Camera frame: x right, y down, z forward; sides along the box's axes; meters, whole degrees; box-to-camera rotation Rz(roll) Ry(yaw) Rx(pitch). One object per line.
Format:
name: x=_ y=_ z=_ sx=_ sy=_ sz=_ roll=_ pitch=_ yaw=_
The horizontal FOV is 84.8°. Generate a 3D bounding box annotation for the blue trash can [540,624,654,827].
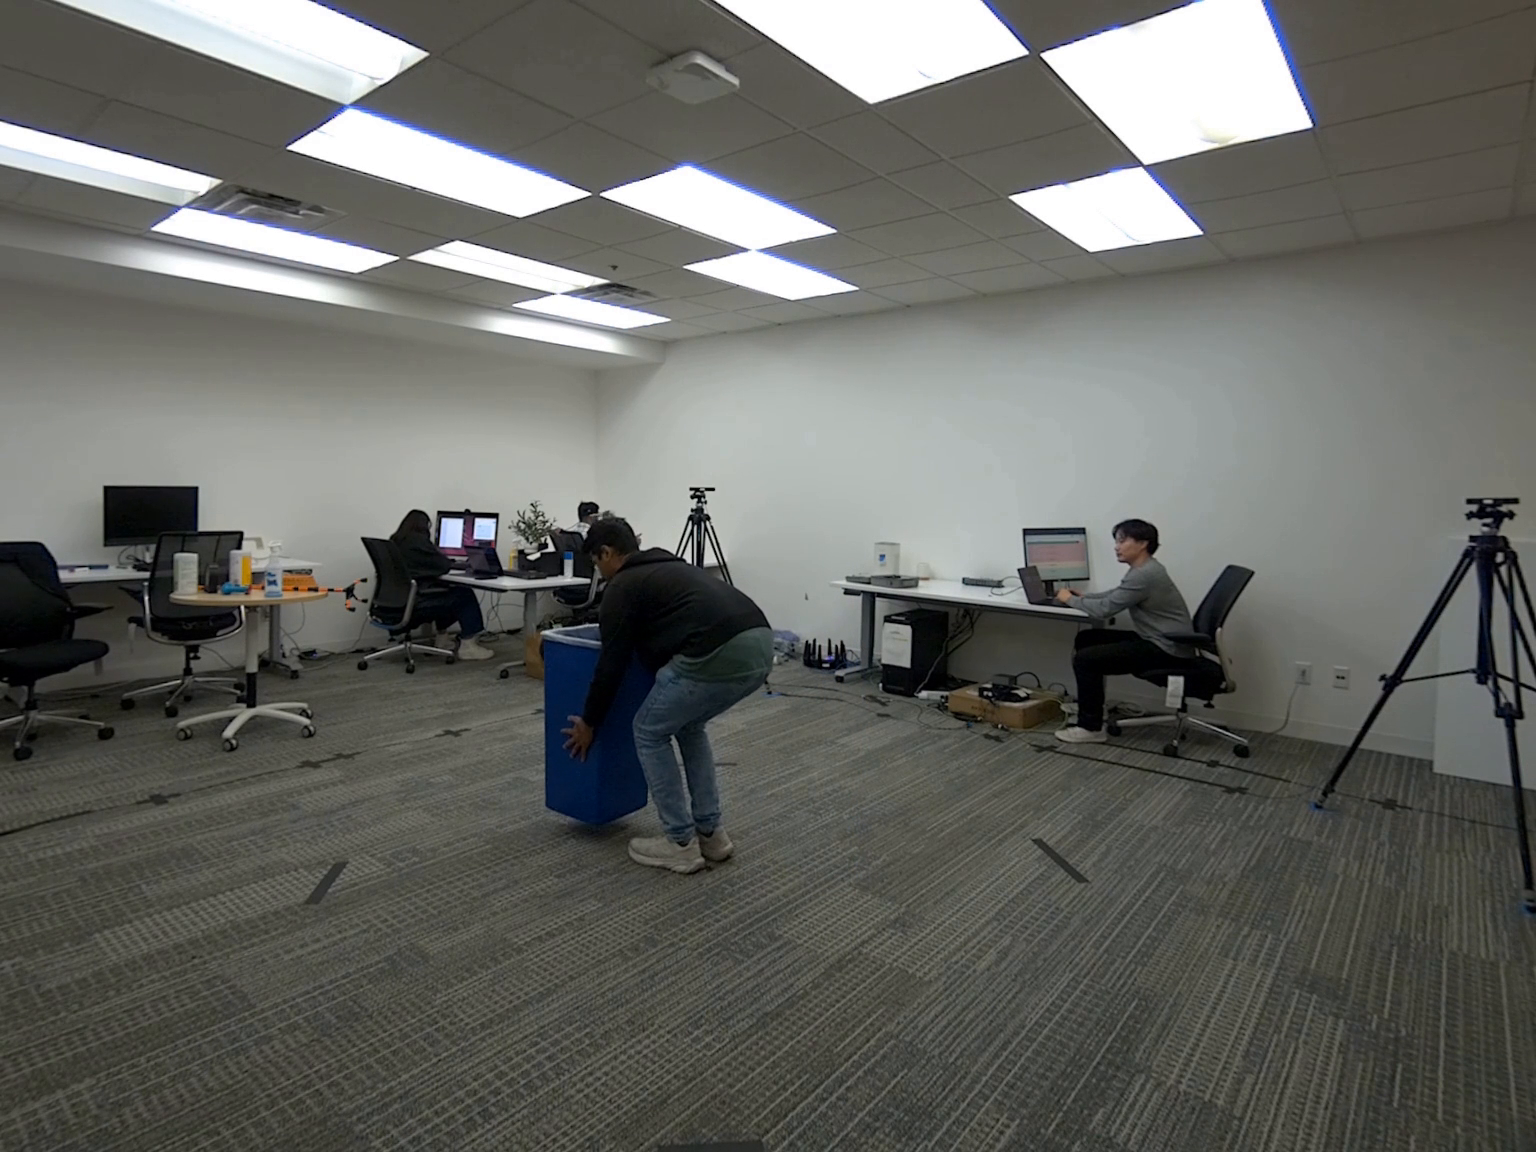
blue trash can: x=-0.709 y=0.587 z=3.456 sx=0.386 sy=0.712 sz=0.367 roll=4 pitch=3 yaw=34
